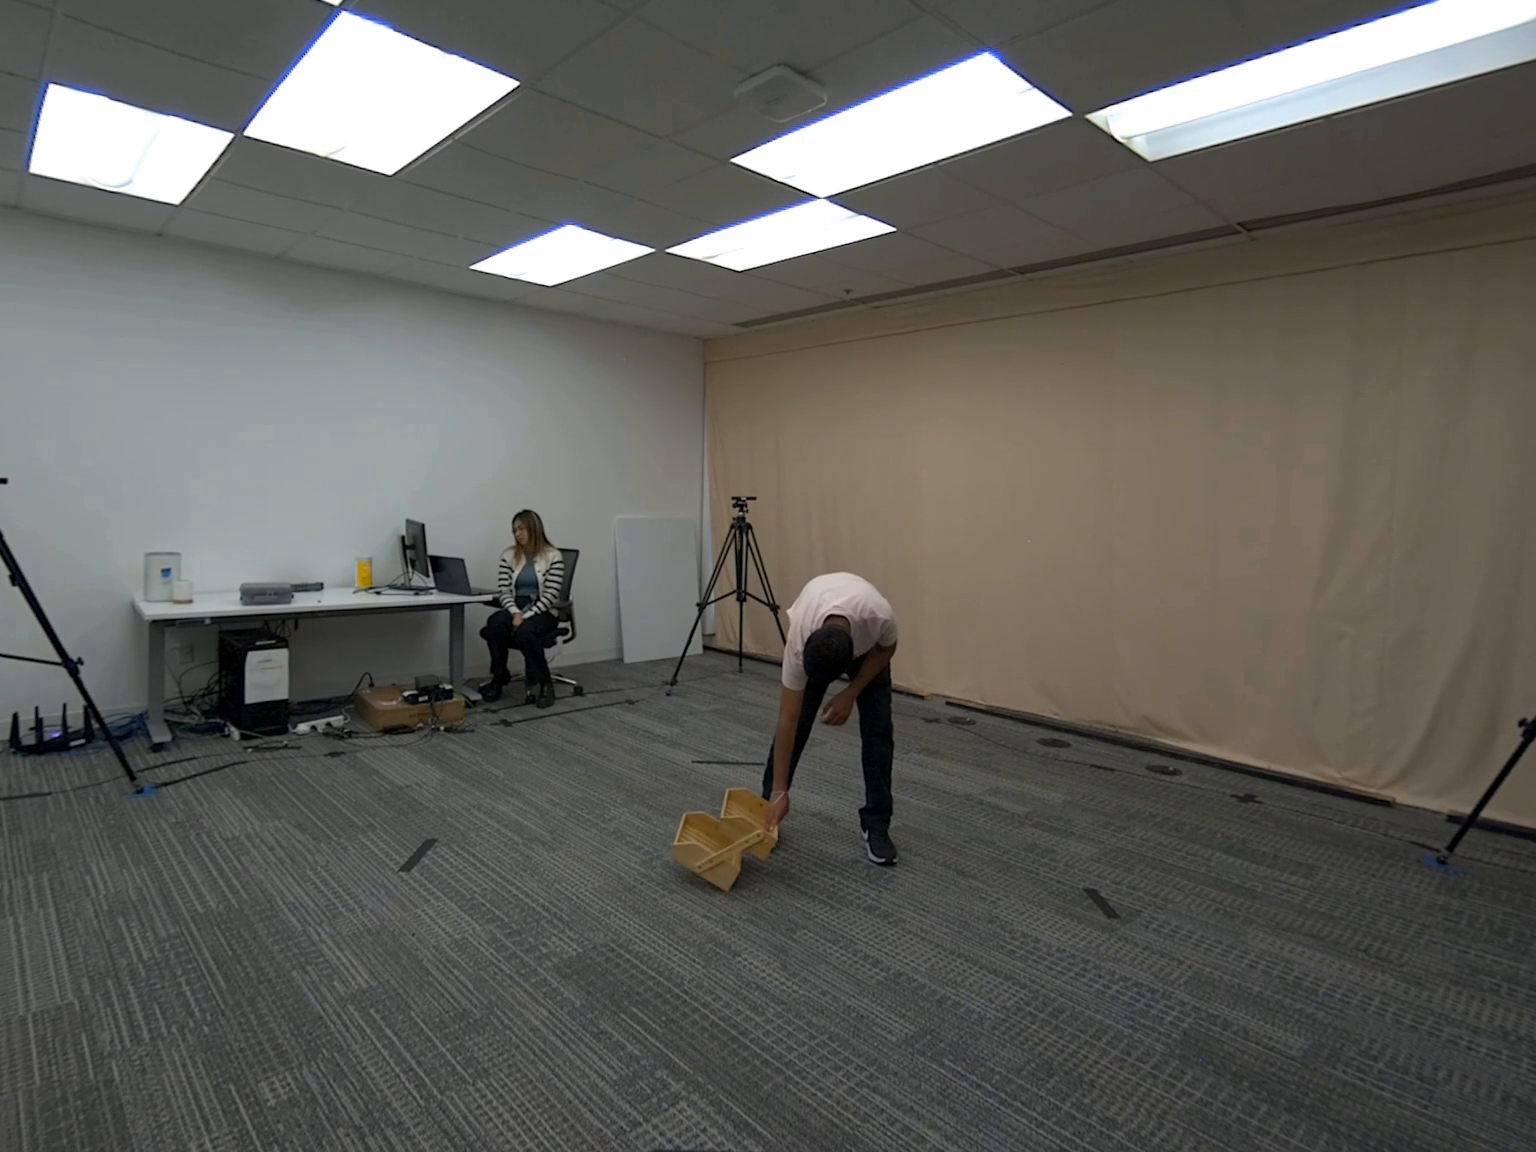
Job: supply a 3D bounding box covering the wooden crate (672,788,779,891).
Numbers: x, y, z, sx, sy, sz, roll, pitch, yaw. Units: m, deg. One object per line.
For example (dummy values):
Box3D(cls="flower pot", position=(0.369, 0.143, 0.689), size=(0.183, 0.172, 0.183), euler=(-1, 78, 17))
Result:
Box3D(cls="wooden crate", position=(-0.153, 0.949, 3.113), size=(0.302, 0.273, 0.324), euler=(32, 5, 0))
